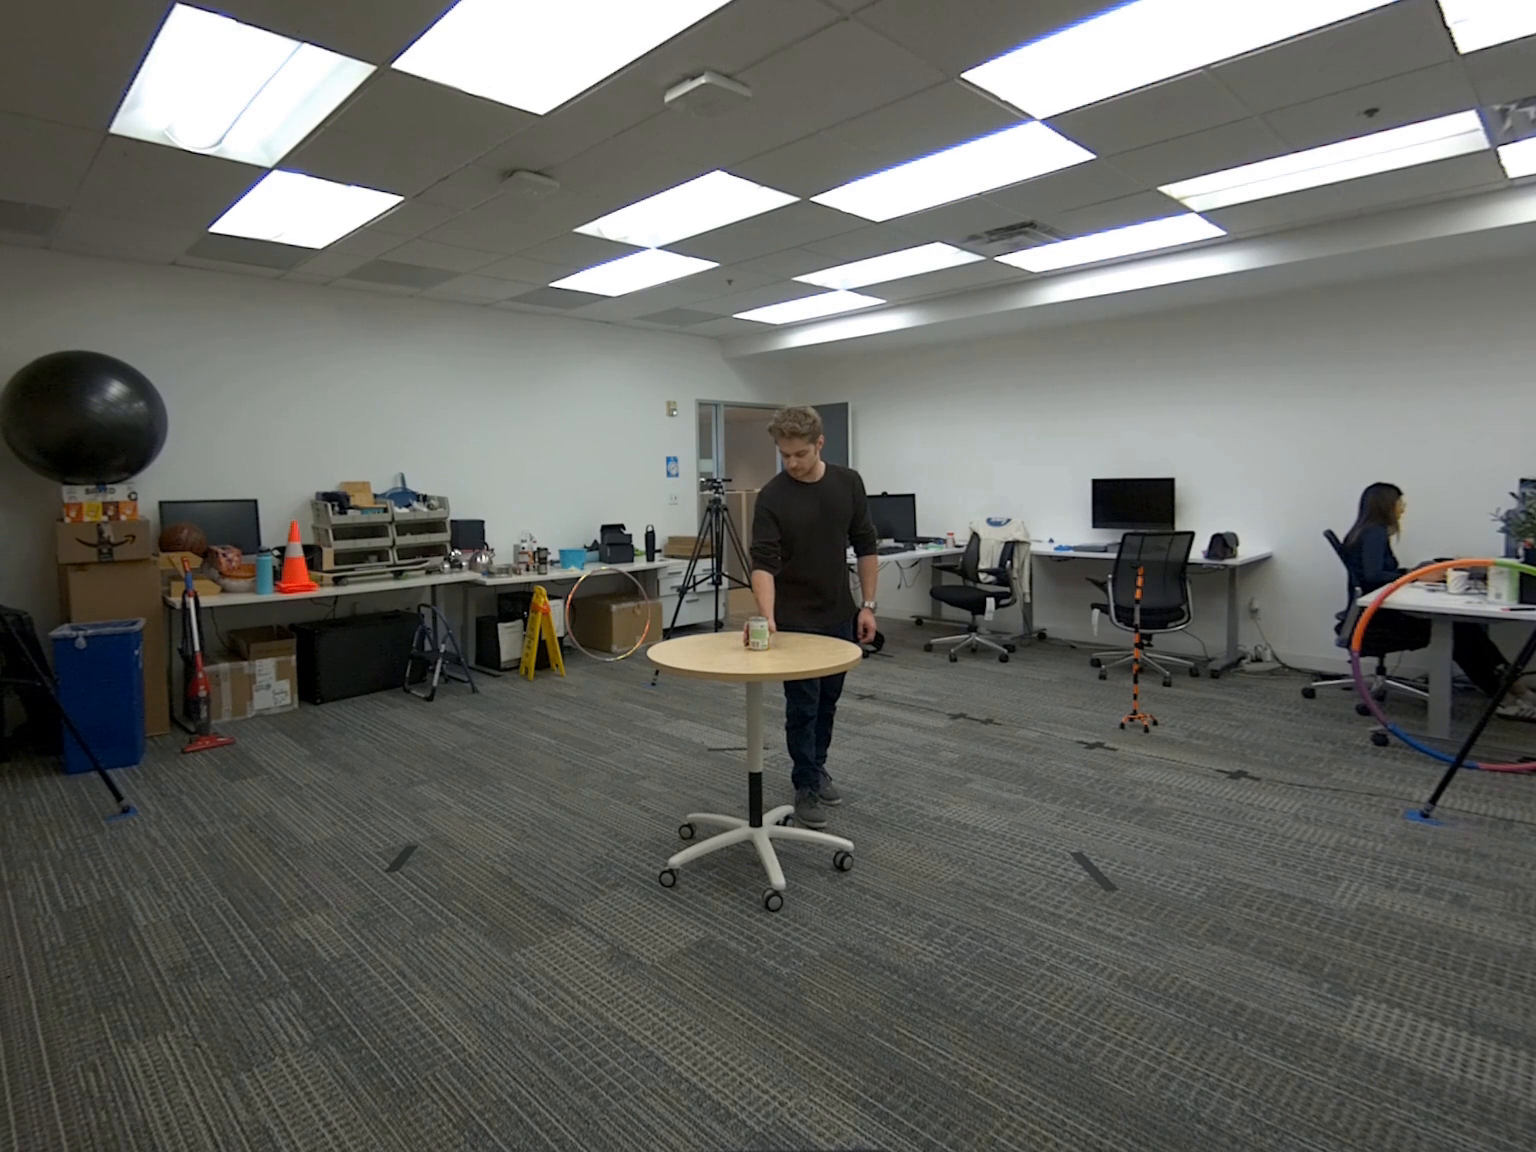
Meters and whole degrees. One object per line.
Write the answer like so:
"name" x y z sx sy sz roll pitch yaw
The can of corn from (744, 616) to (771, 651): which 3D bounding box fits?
"can of corn" -0.039 0.211 3.064 0.074 0.111 0.074 -1 3 -2
